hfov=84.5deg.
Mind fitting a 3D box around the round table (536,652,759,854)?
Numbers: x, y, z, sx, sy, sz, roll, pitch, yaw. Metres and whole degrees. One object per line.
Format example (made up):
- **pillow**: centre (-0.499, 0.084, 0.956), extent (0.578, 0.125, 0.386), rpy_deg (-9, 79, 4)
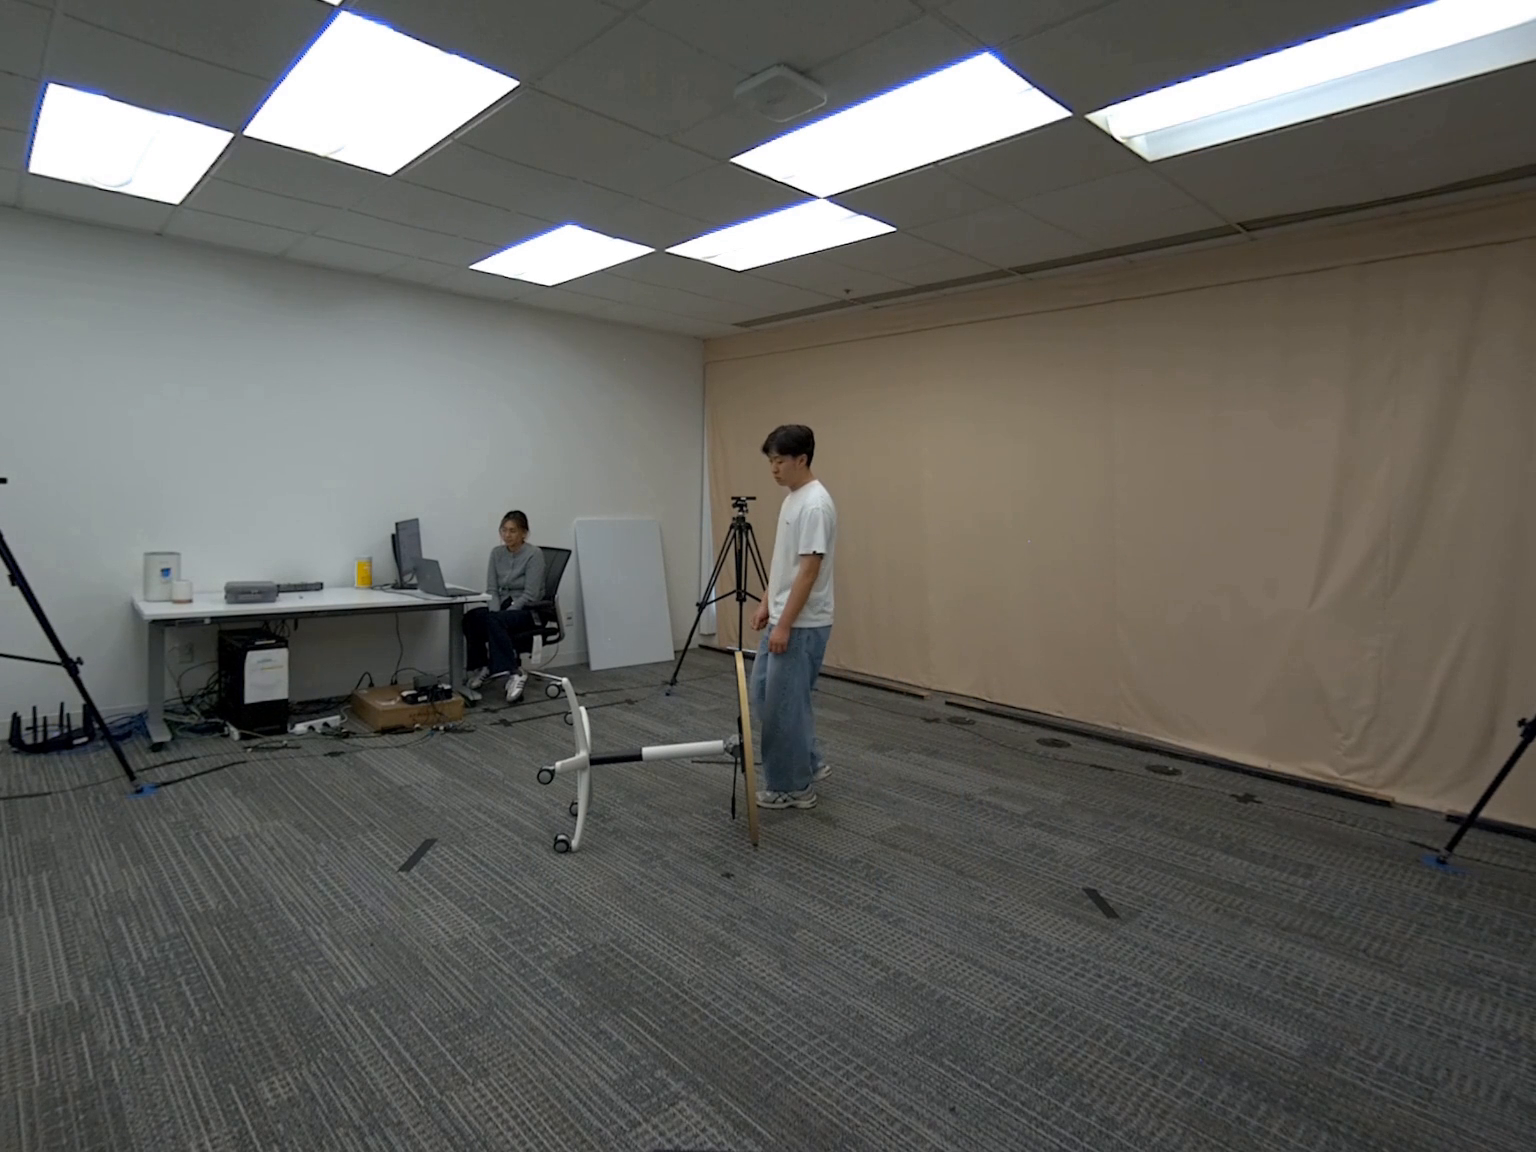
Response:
- **round table**: centre (-0.476, 0.722, 3.437), extent (0.785, 0.782, 0.789), rpy_deg (-4, 5, -4)
